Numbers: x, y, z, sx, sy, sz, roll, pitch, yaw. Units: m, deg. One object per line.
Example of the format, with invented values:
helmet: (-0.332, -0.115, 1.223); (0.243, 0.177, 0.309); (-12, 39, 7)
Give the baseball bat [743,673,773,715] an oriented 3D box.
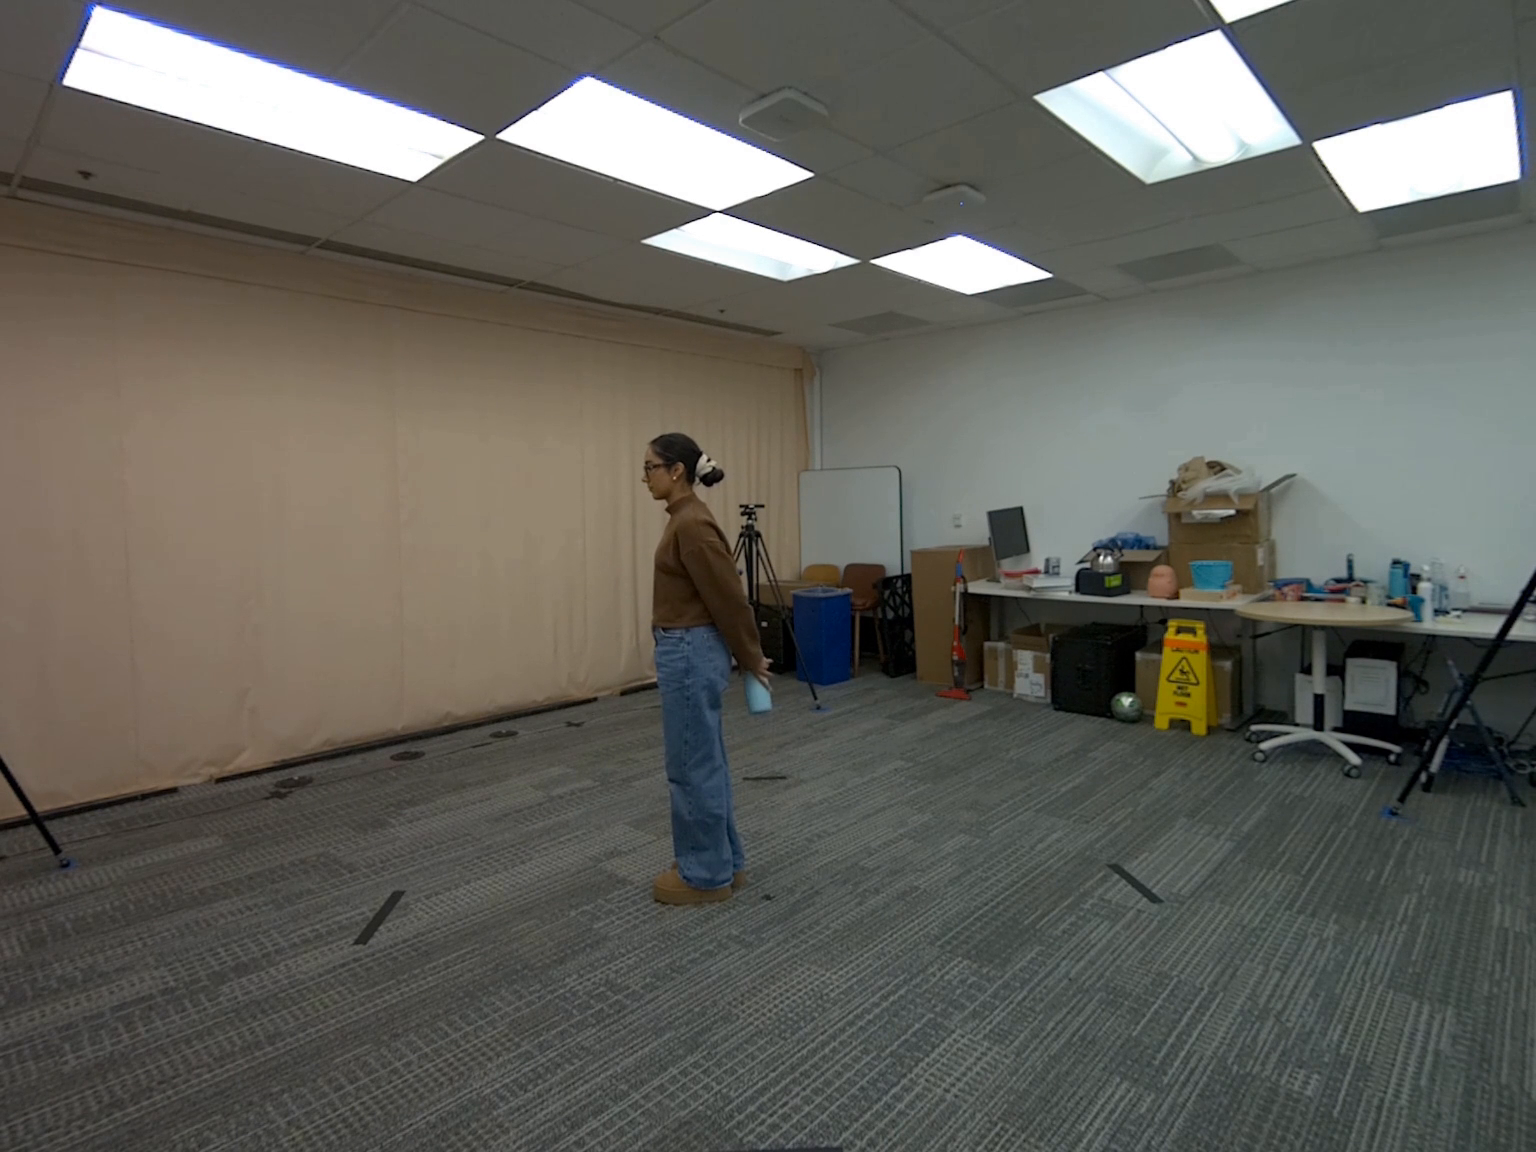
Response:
baseball bat: (-0.066, 0.238, 3.080); (0.089, 0.550, 0.088); (-8, -17, -4)
